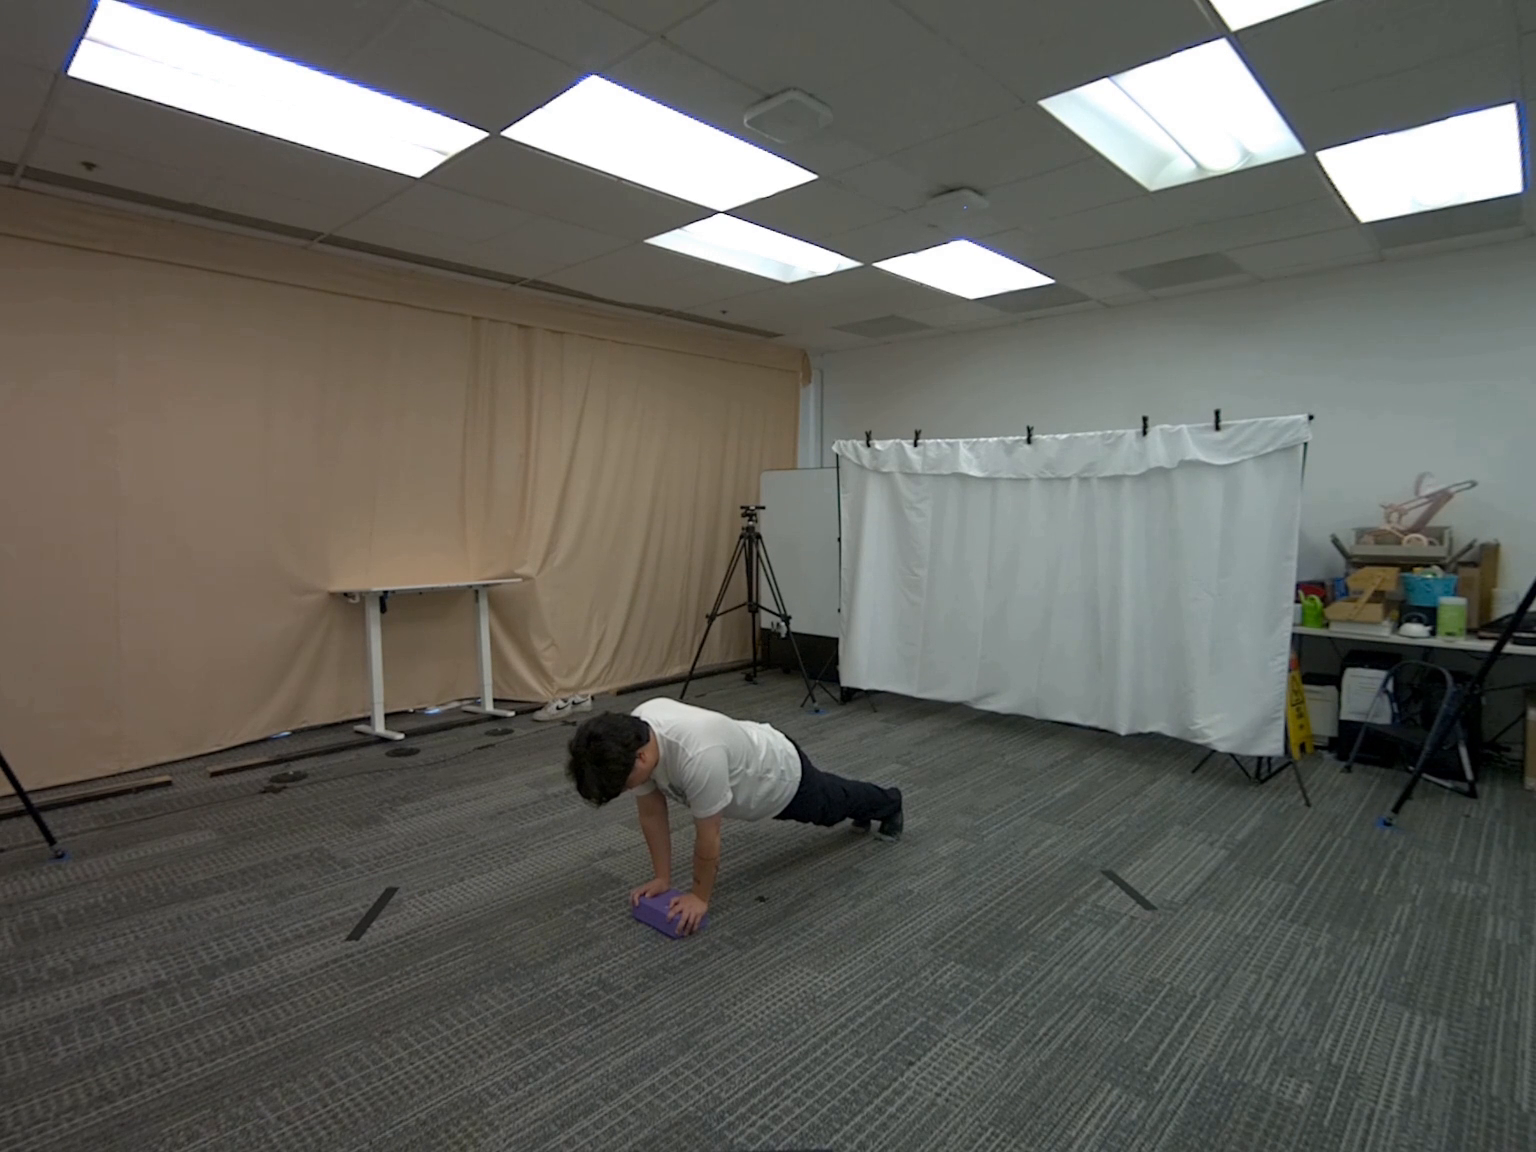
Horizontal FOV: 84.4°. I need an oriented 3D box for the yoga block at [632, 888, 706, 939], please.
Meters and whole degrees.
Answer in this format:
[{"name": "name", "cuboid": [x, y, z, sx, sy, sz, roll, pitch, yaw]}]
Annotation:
[{"name": "yoga block", "cuboid": [-0.329, 1.126, 2.825, 0.237, 0.076, 0.144, 4, 6, 41]}]
